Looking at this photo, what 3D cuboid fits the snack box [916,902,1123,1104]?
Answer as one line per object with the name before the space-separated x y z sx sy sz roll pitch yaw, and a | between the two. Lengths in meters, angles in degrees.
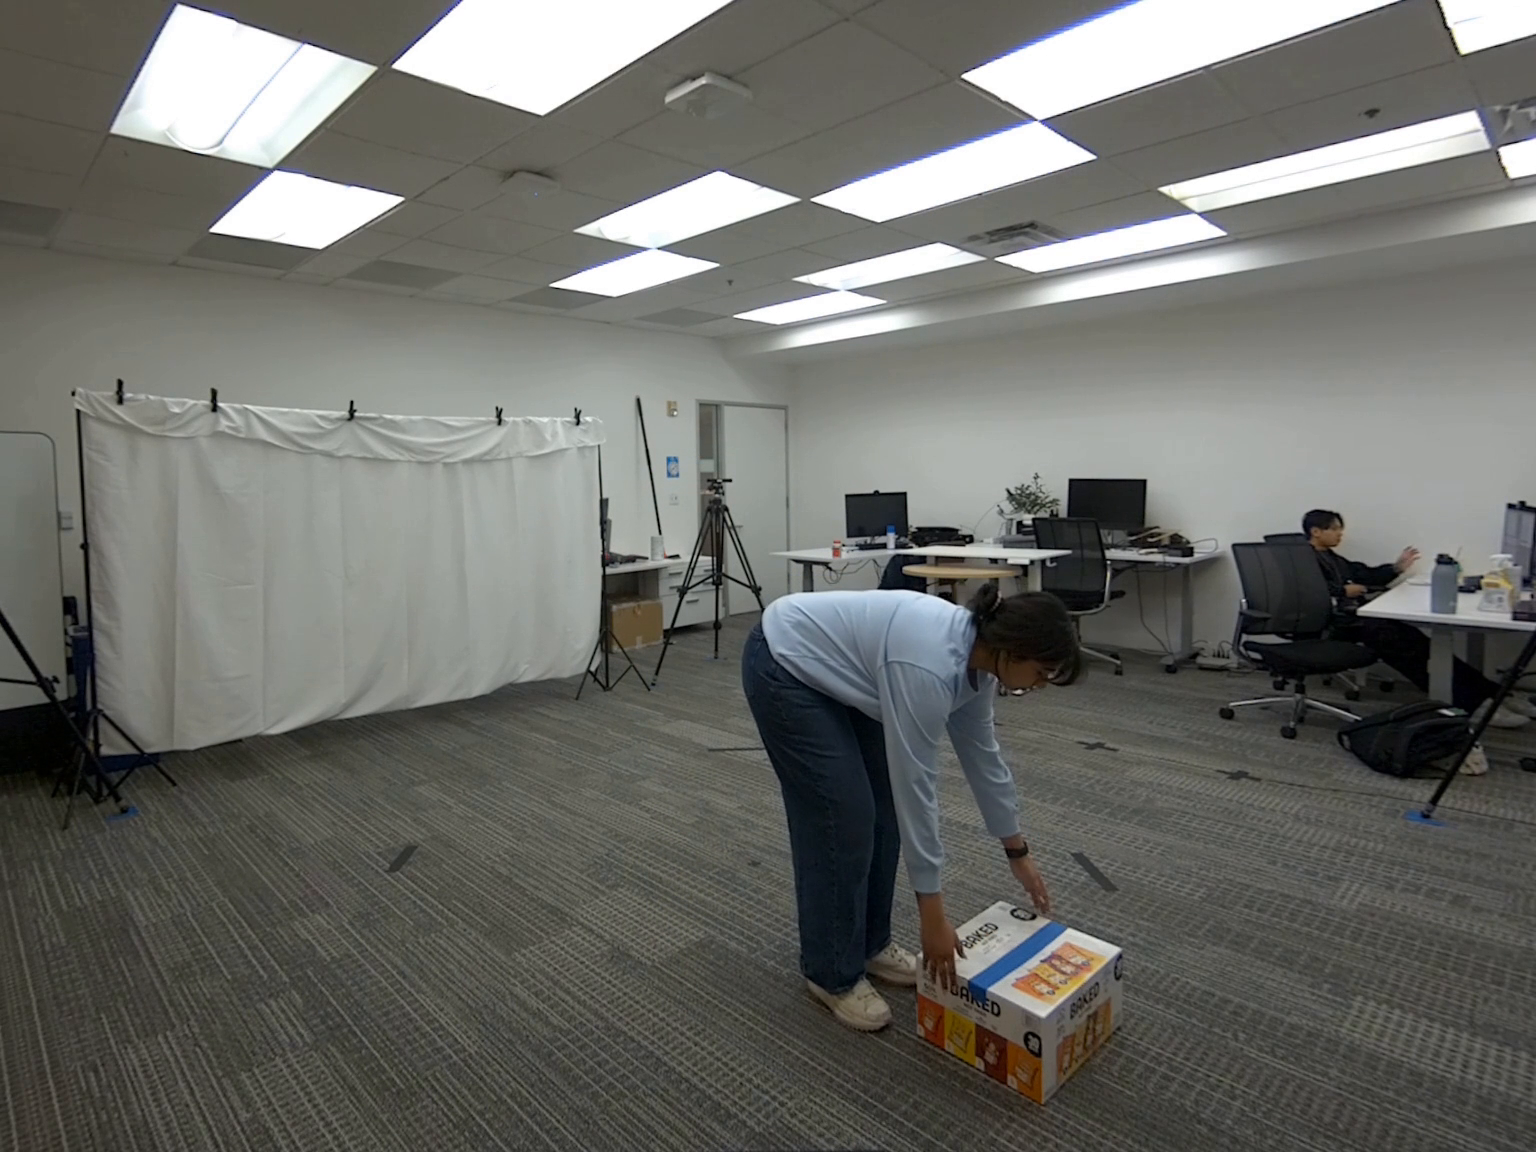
snack box | 0.634 1.039 2.142 0.395 0.204 0.351 -7 9 -43
